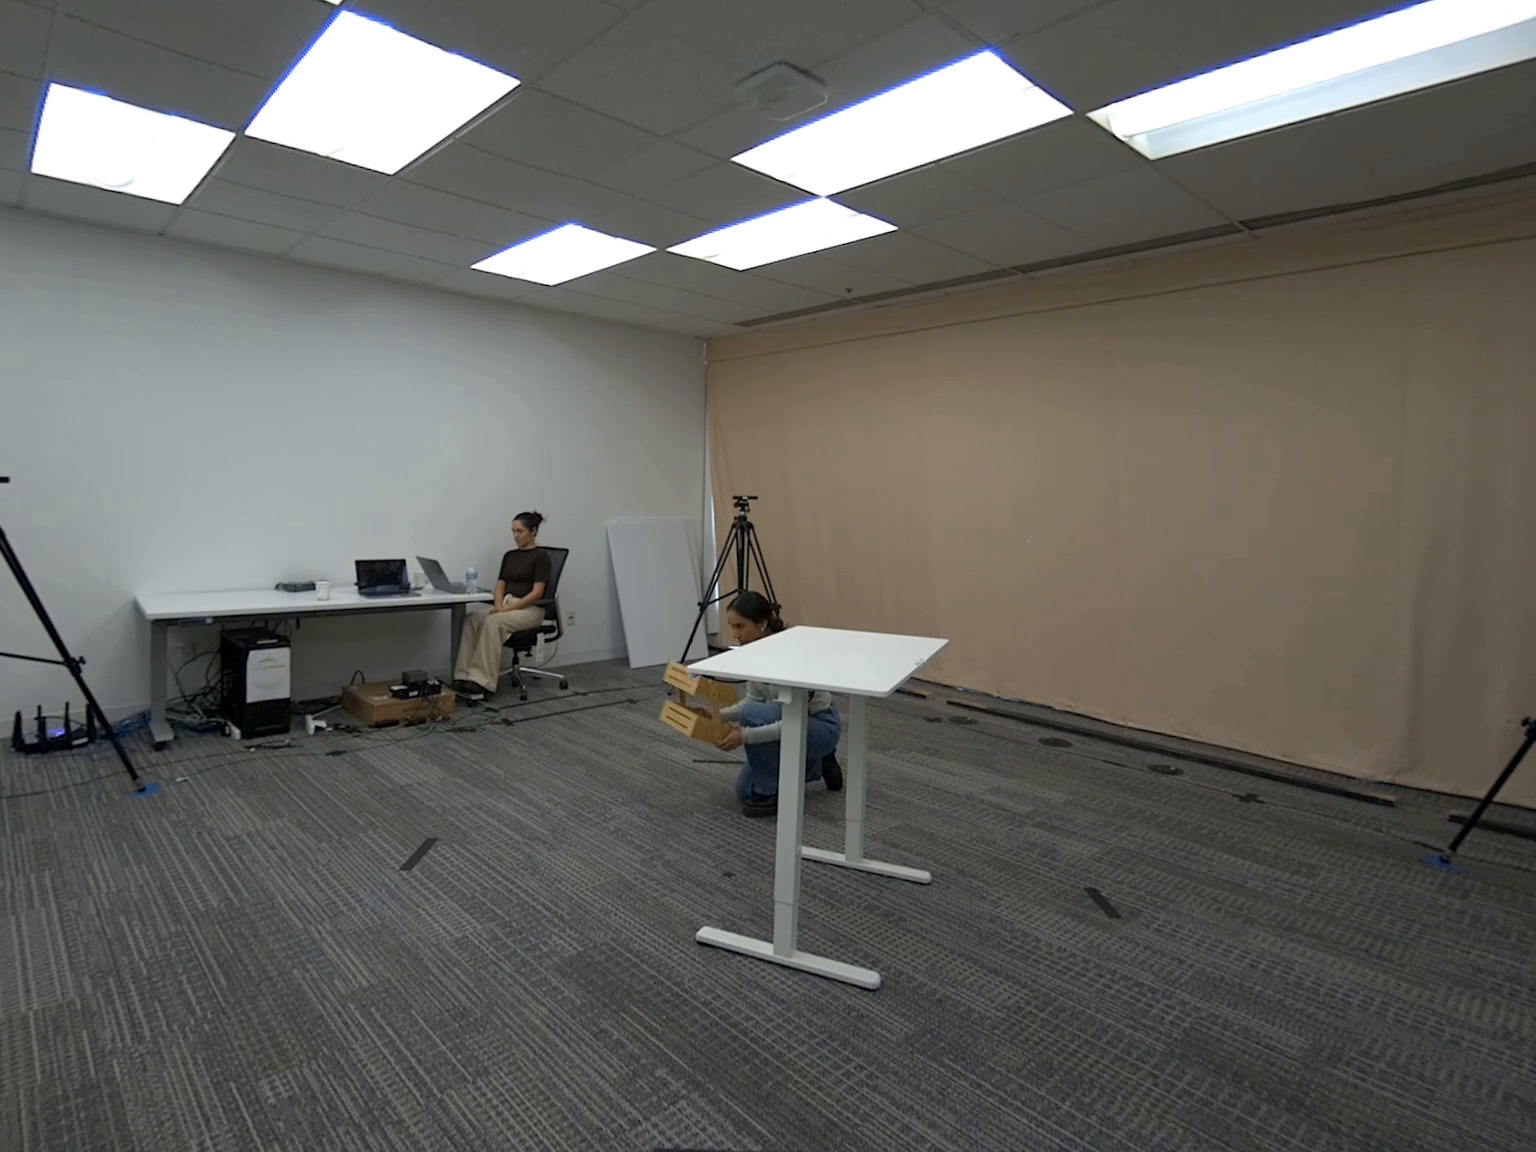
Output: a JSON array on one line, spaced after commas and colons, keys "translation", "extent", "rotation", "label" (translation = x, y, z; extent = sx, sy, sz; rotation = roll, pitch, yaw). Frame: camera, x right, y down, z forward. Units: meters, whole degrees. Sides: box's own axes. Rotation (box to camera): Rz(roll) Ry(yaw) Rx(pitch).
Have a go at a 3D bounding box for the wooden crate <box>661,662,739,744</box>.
[{"translation": [-0.285, 0.550, 3.636], "extent": [0.294, 0.274, 0.332], "rotation": [22, -7, -33], "label": "wooden crate"}]
